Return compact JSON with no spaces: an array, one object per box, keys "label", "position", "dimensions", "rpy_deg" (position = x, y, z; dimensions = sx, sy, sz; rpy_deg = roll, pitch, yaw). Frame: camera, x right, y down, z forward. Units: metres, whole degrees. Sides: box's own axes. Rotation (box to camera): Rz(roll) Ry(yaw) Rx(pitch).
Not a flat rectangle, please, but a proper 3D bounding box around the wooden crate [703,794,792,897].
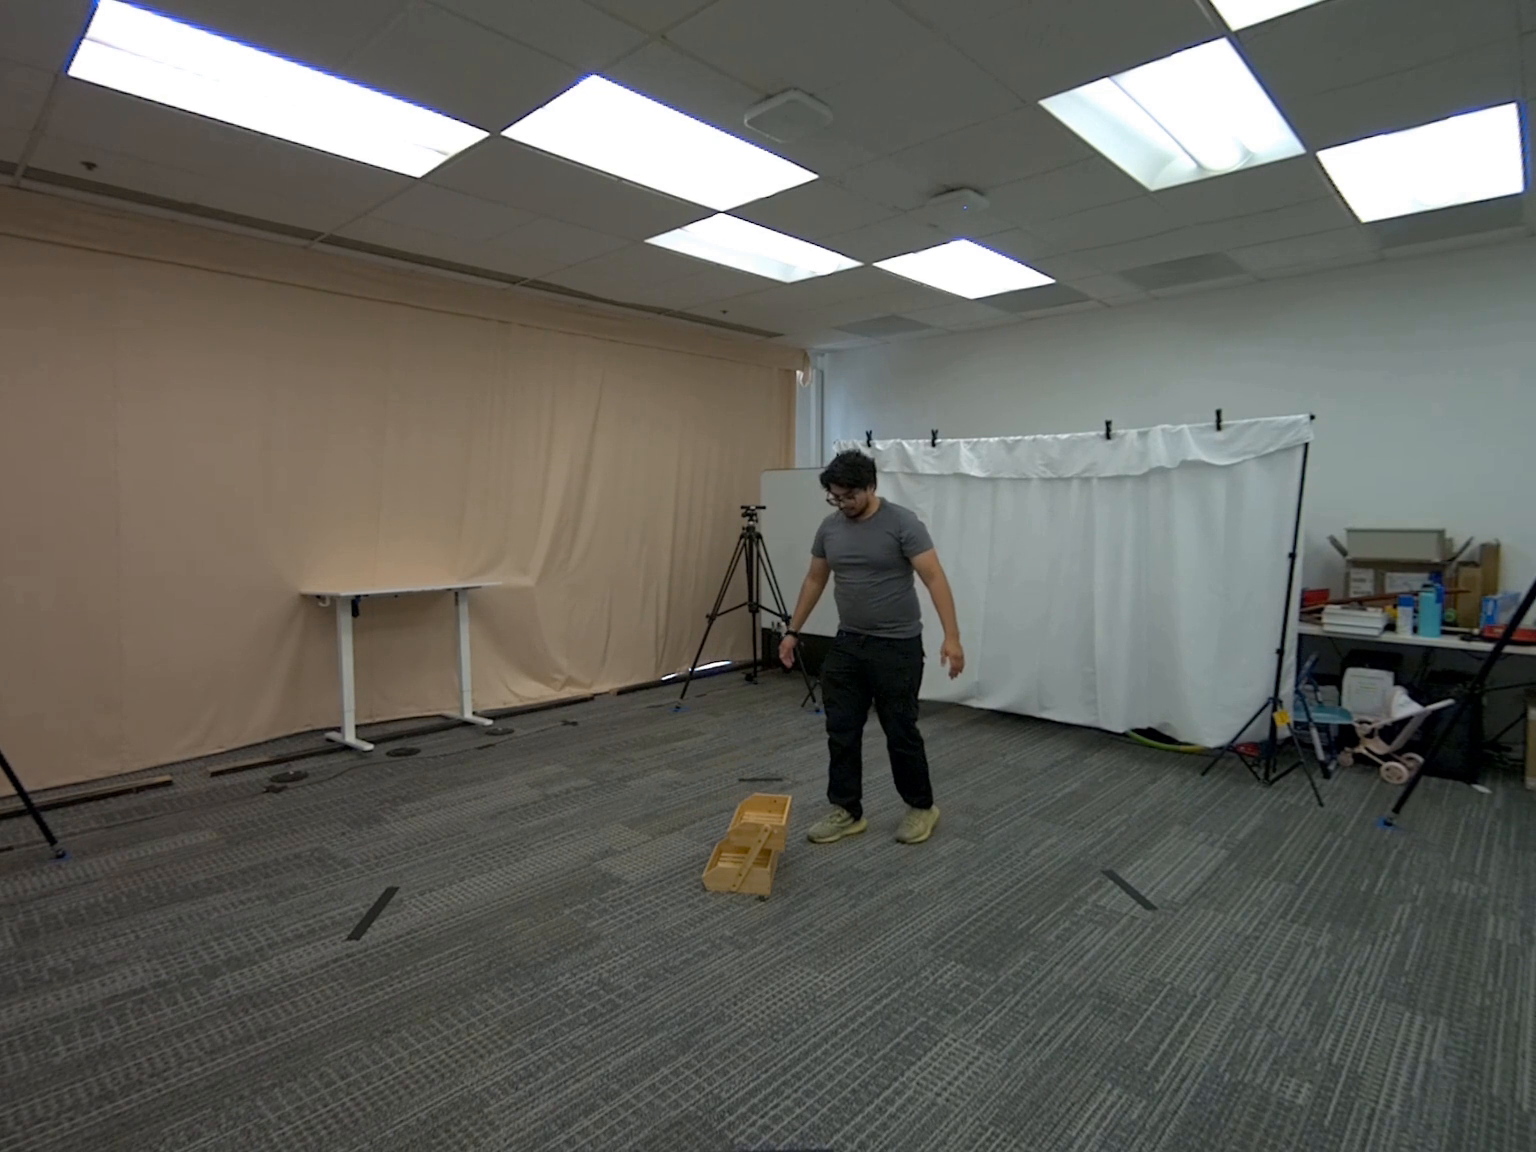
[{"label":"wooden crate","position":[-0.077,0.993,3.168],"dimensions":[0.305,0.273,0.322],"rpy_deg":[1,4,8]}]
